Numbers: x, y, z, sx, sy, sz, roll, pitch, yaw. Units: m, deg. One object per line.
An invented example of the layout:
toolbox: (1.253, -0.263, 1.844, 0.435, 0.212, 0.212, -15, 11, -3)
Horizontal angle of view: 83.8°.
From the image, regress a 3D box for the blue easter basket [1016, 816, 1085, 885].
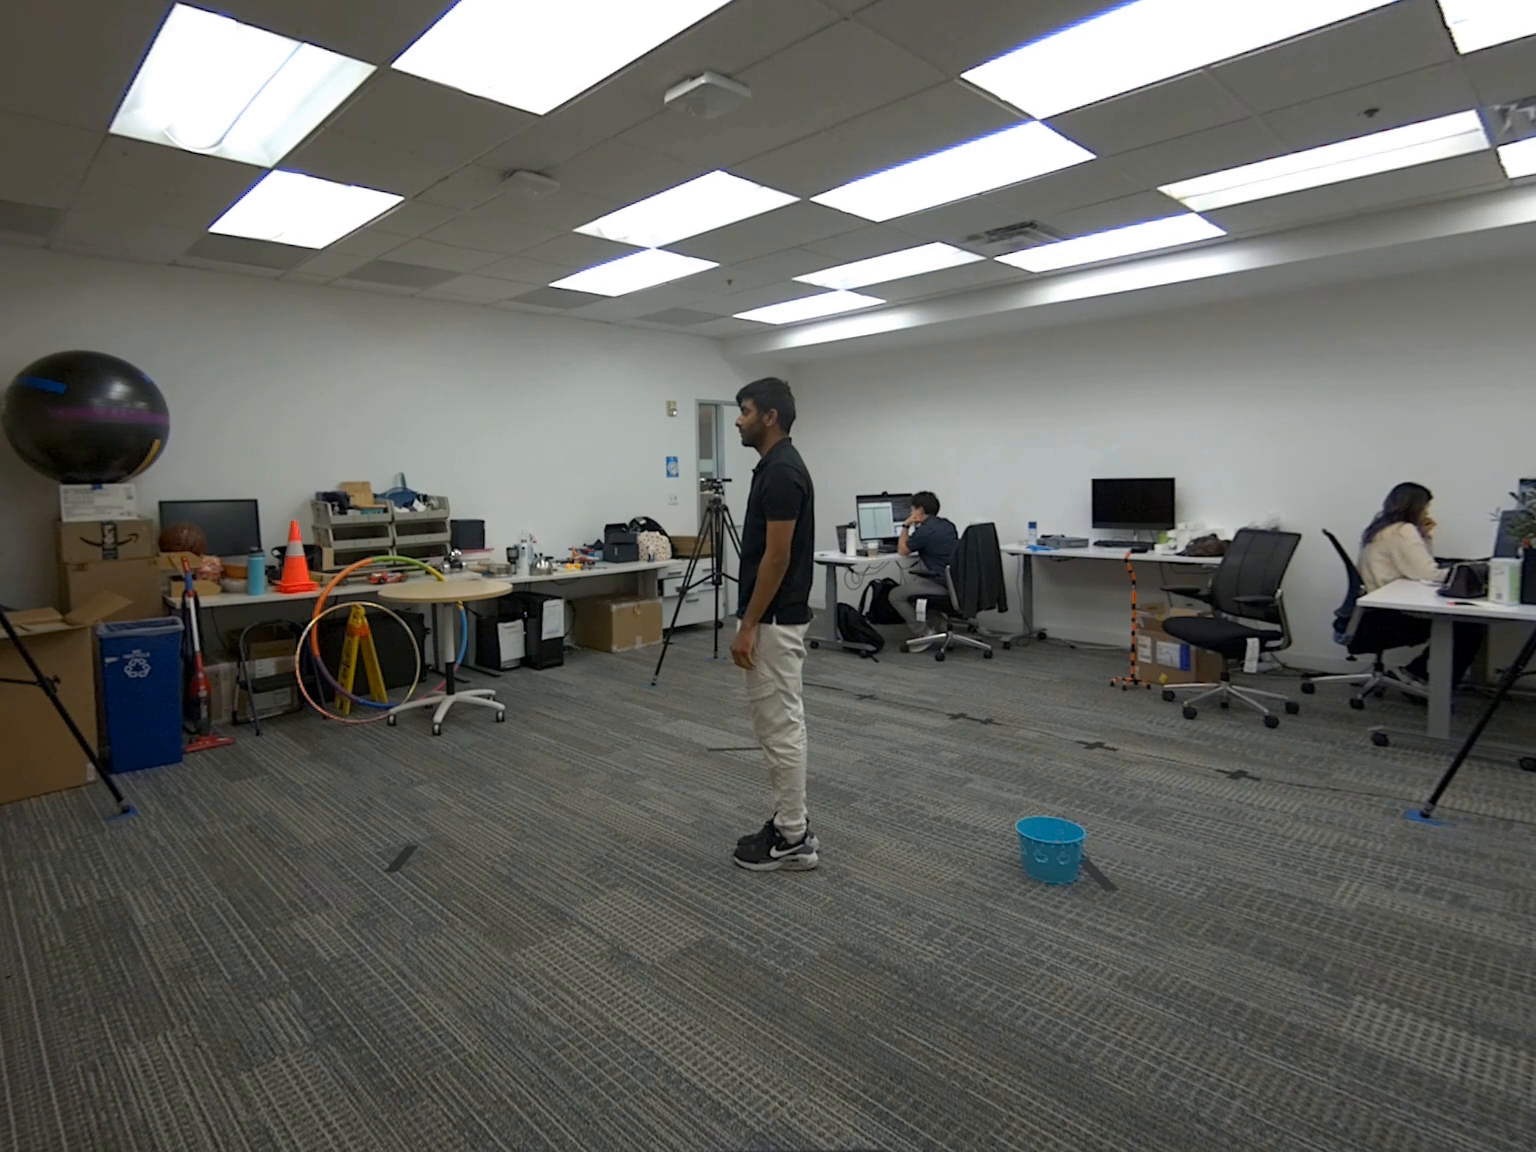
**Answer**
blue easter basket: (0.988, 0.955, 2.991, 0.243, 0.155, 0.245, -2, 5, -2)
